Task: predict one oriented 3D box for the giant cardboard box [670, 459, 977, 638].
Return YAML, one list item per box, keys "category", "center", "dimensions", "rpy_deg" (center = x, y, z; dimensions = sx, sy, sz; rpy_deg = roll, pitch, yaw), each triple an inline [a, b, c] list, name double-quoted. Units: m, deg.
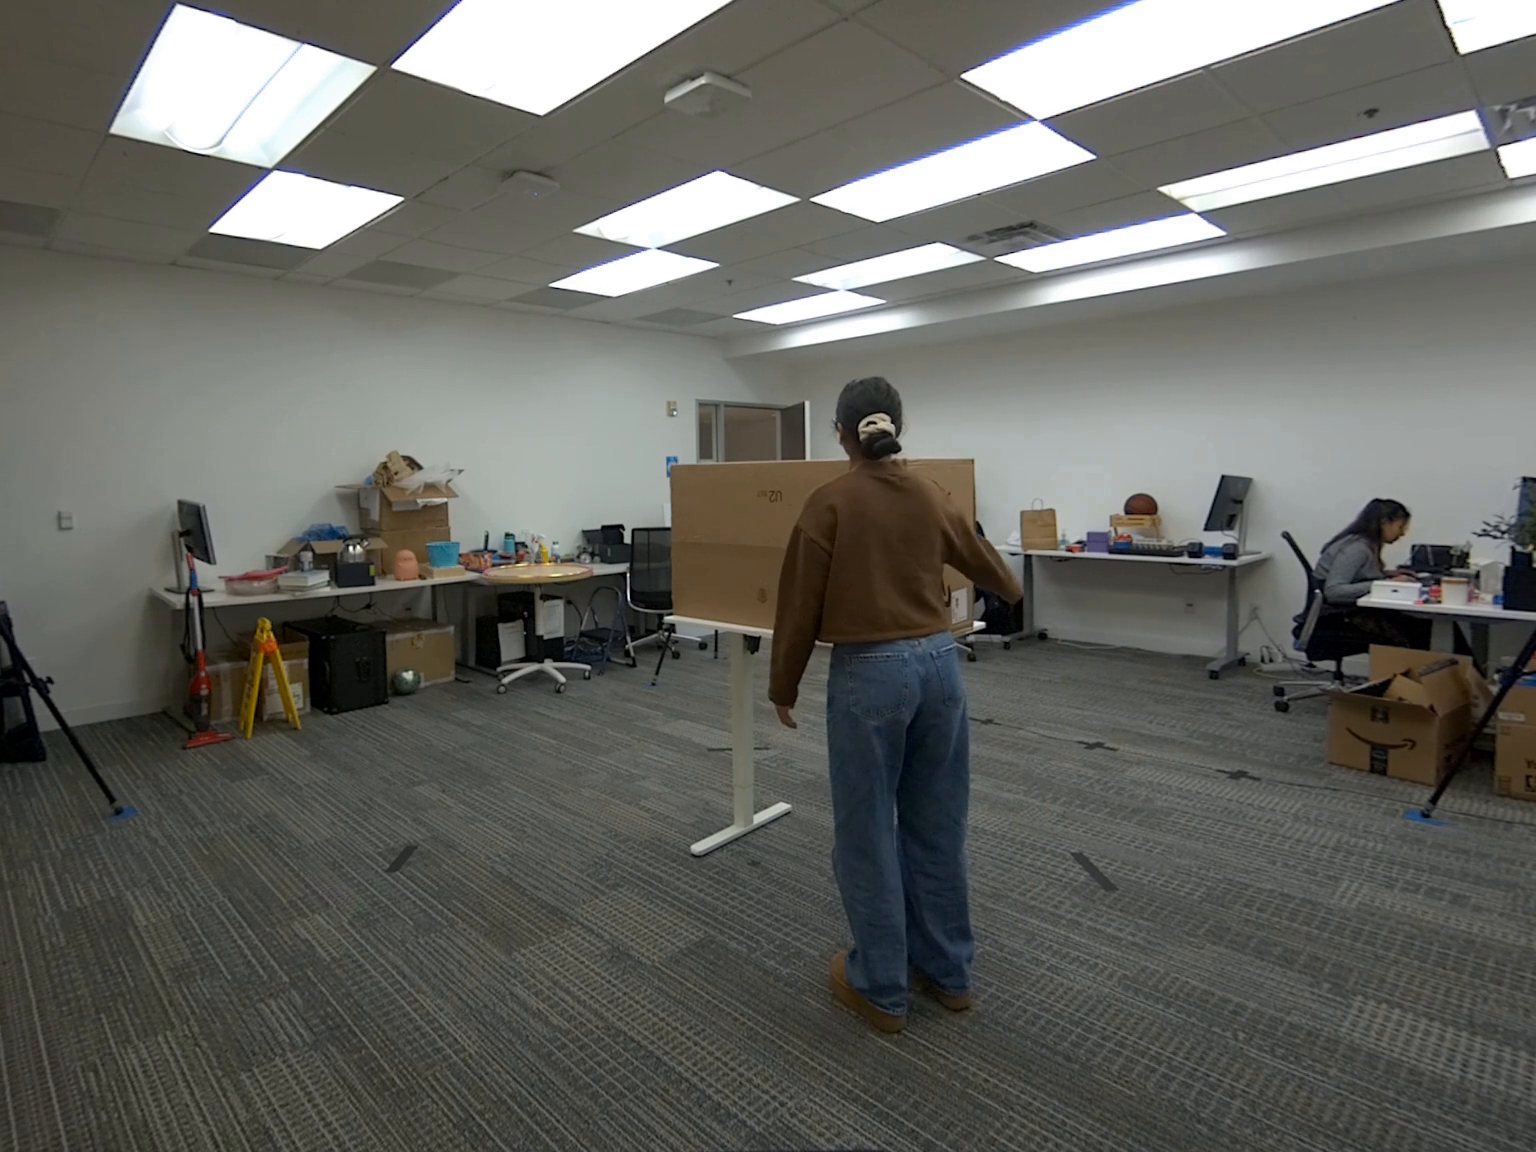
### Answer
- category: "giant cardboard box"
  center: [0.163, -0.117, 3.032]
  dimensions: [1.058, 0.574, 0.415]
  rpy_deg: [5, 8, 42]
